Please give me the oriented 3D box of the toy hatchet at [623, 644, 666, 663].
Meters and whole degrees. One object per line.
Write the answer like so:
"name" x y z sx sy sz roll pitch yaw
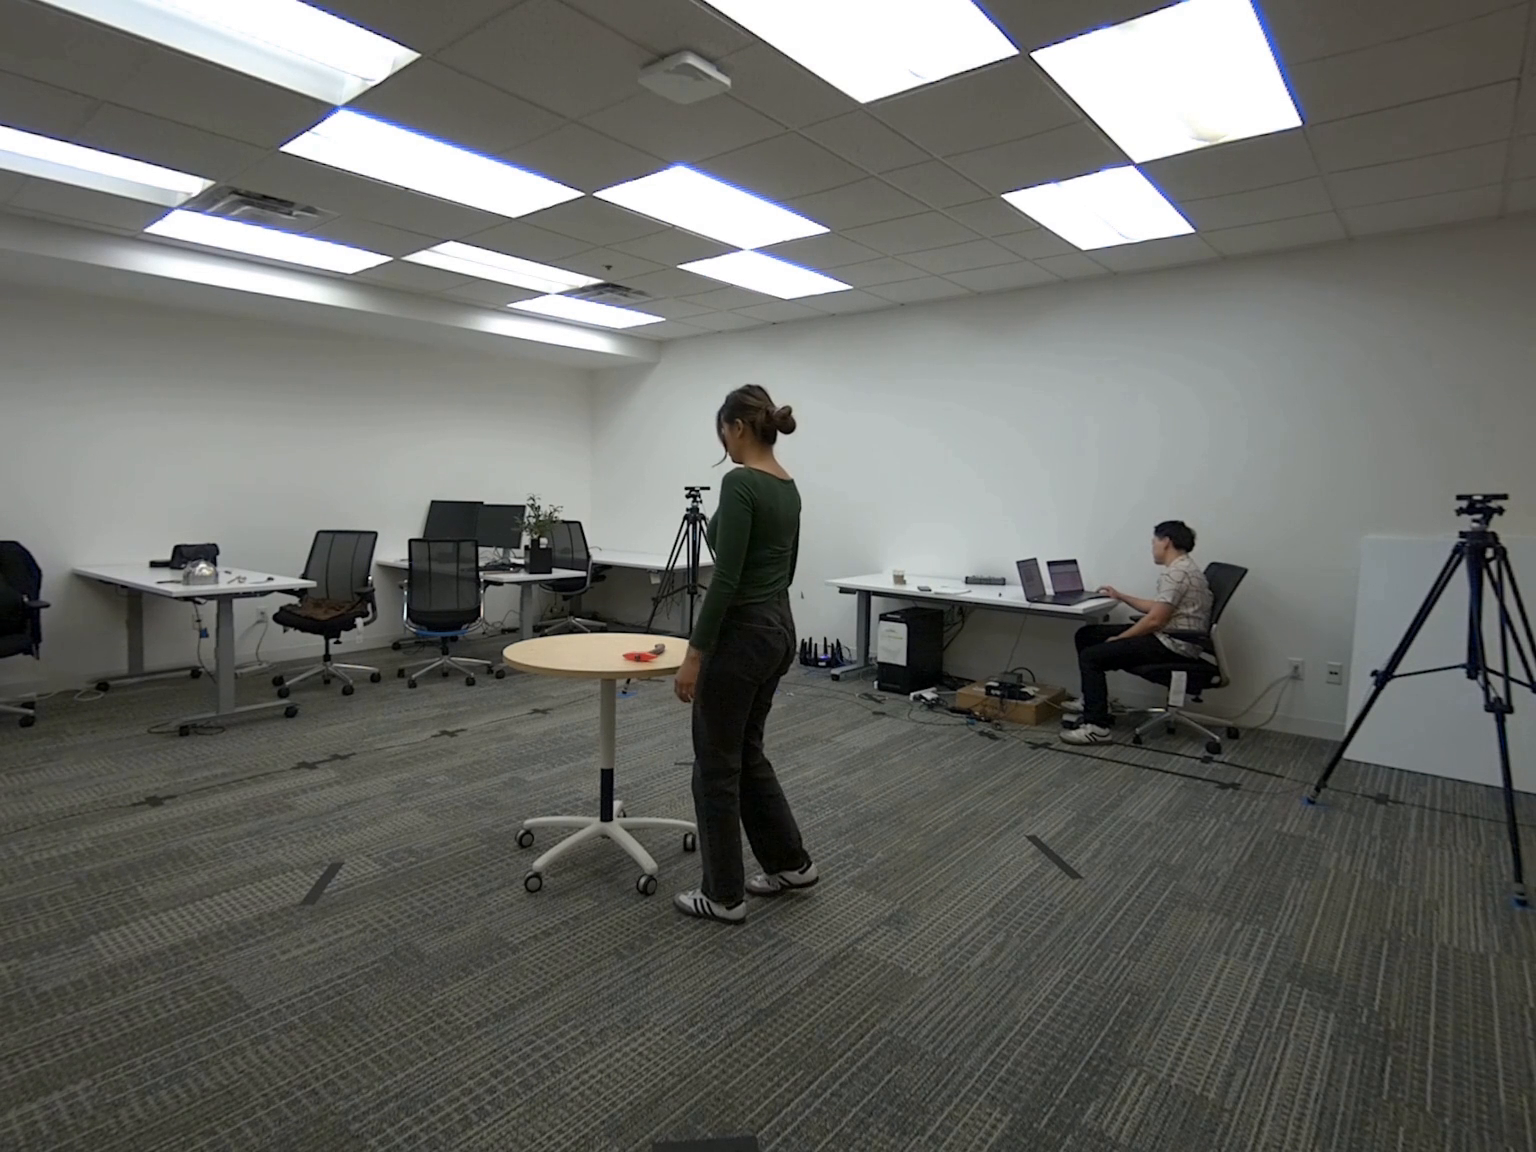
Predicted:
"toy hatchet" -0.451 0.273 3.070 0.131 0.029 0.270 -3 3 -1
